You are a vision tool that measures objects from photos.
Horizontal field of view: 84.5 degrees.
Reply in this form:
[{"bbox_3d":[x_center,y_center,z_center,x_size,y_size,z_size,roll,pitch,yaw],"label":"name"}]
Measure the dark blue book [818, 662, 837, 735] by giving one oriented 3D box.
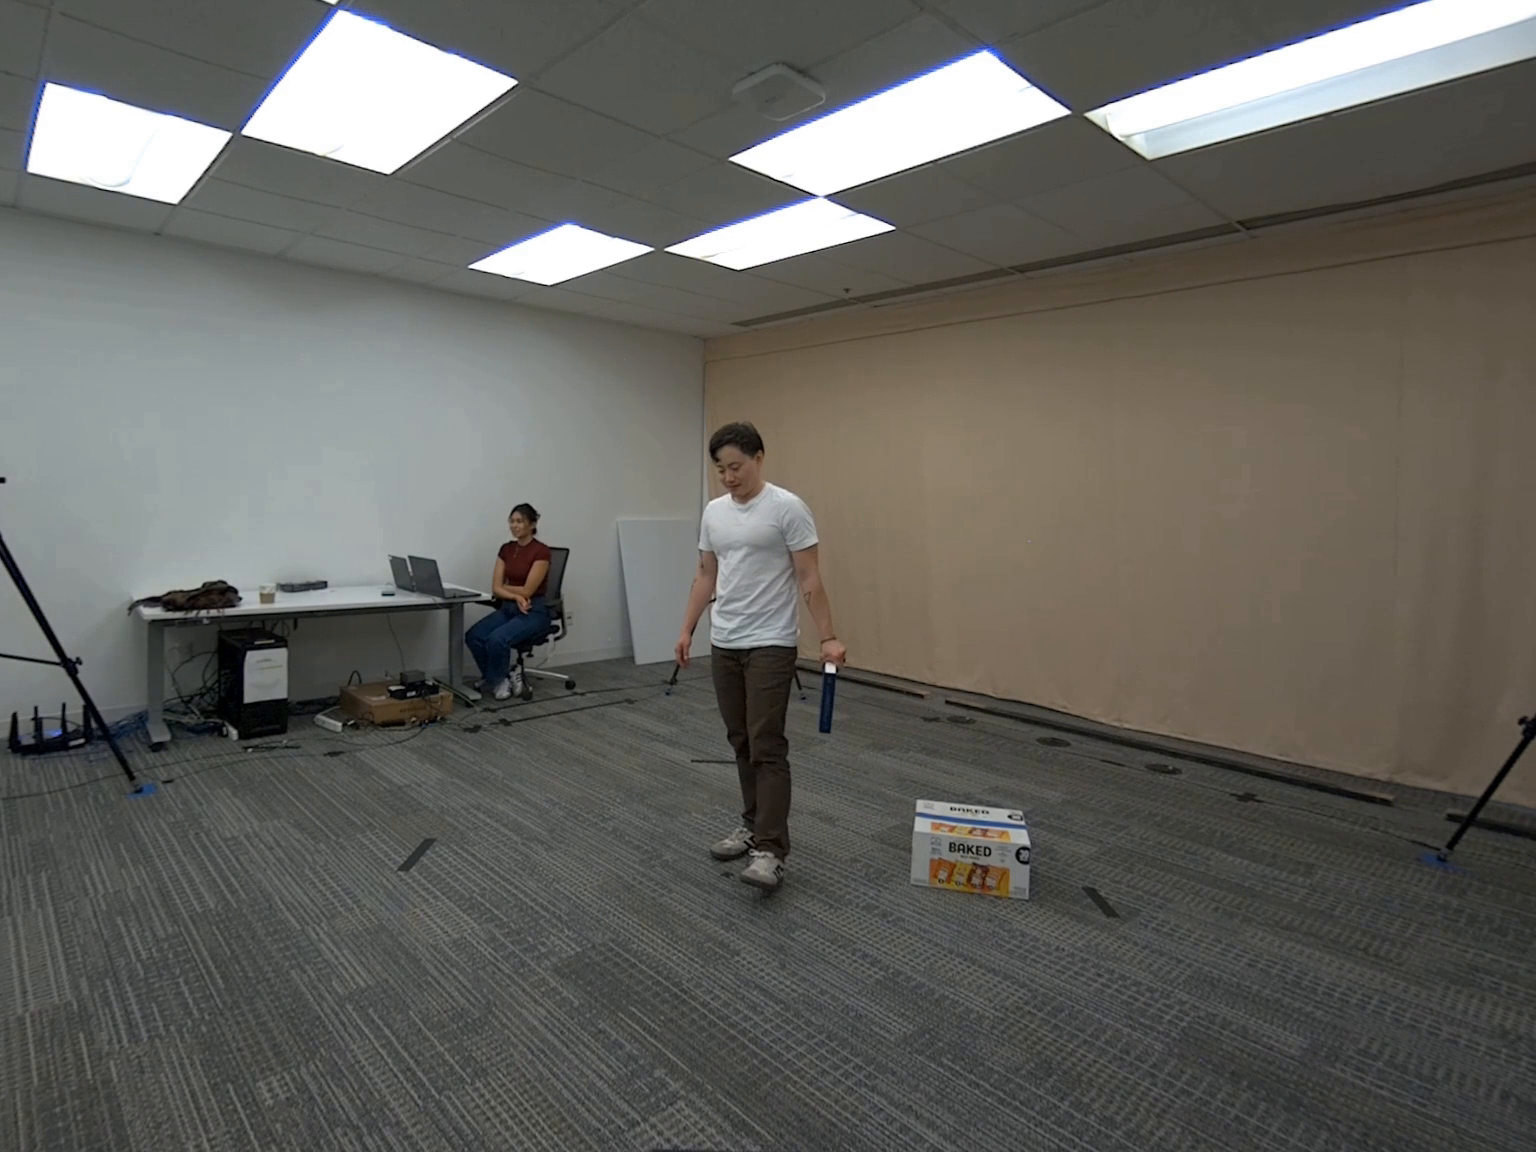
[{"bbox_3d":[0.204,0.430,3.083,0.045,0.242,0.165,8,19,2],"label":"dark blue book"}]
